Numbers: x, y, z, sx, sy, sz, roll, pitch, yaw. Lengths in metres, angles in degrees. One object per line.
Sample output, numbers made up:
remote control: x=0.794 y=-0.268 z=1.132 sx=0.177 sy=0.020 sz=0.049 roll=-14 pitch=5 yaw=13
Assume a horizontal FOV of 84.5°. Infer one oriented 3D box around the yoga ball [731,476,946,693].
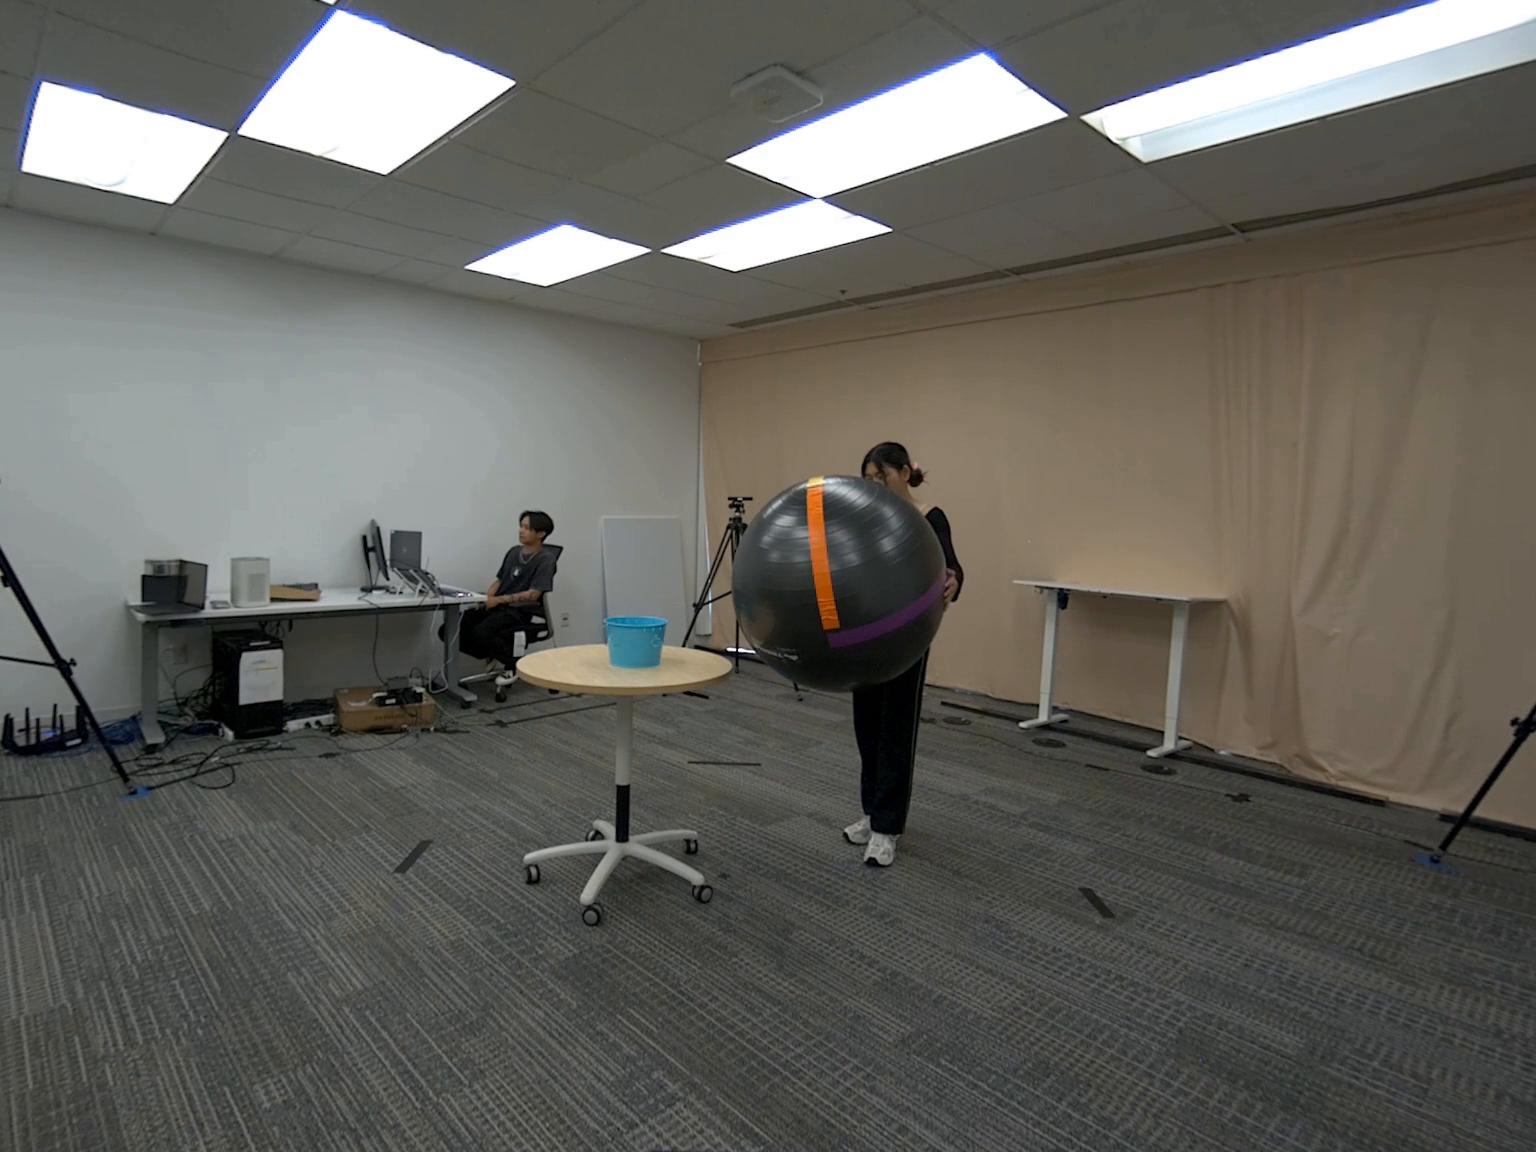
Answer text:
yoga ball: x=0.253 y=0.037 z=2.948 sx=0.757 sy=0.756 sz=0.761 roll=1 pitch=4 yaw=-1
